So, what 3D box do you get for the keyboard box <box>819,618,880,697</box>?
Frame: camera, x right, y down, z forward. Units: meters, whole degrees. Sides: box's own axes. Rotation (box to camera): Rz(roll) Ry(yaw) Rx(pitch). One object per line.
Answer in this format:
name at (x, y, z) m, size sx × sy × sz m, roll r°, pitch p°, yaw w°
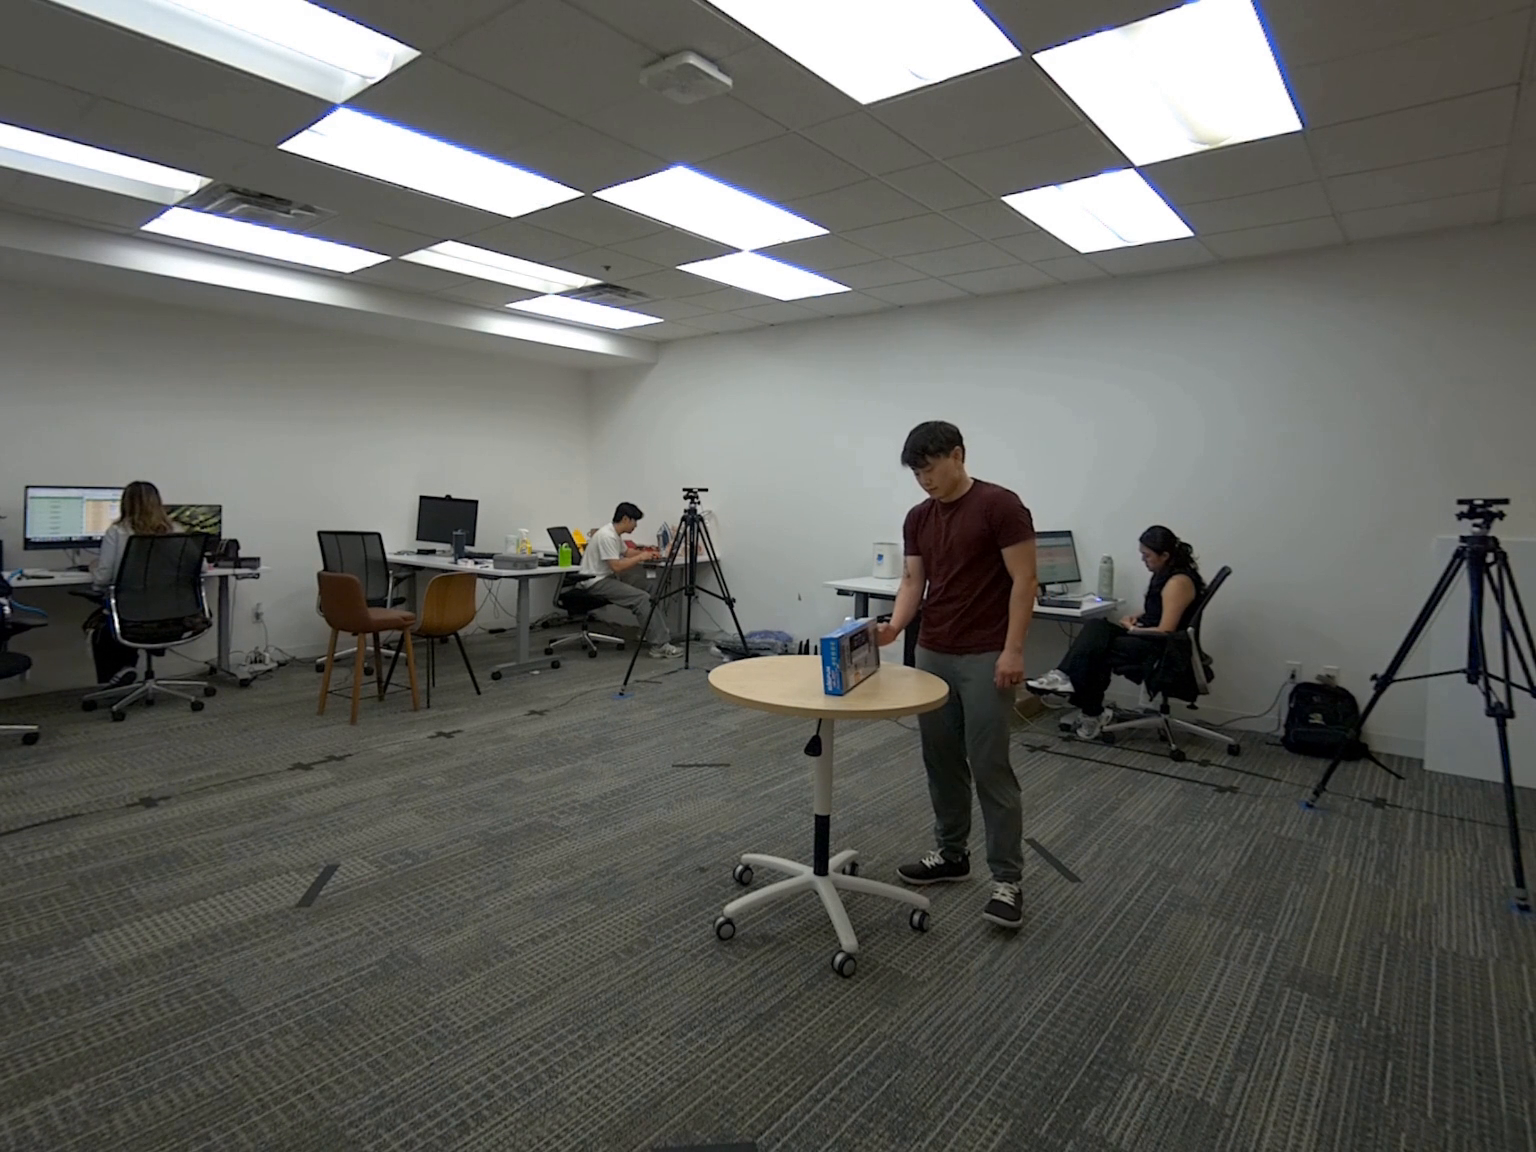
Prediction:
keyboard box at (0.265, 0.250, 2.726) m, size 0.060 × 0.175 × 0.428 m, roll -3°, pitch 3°, yaw 22°
